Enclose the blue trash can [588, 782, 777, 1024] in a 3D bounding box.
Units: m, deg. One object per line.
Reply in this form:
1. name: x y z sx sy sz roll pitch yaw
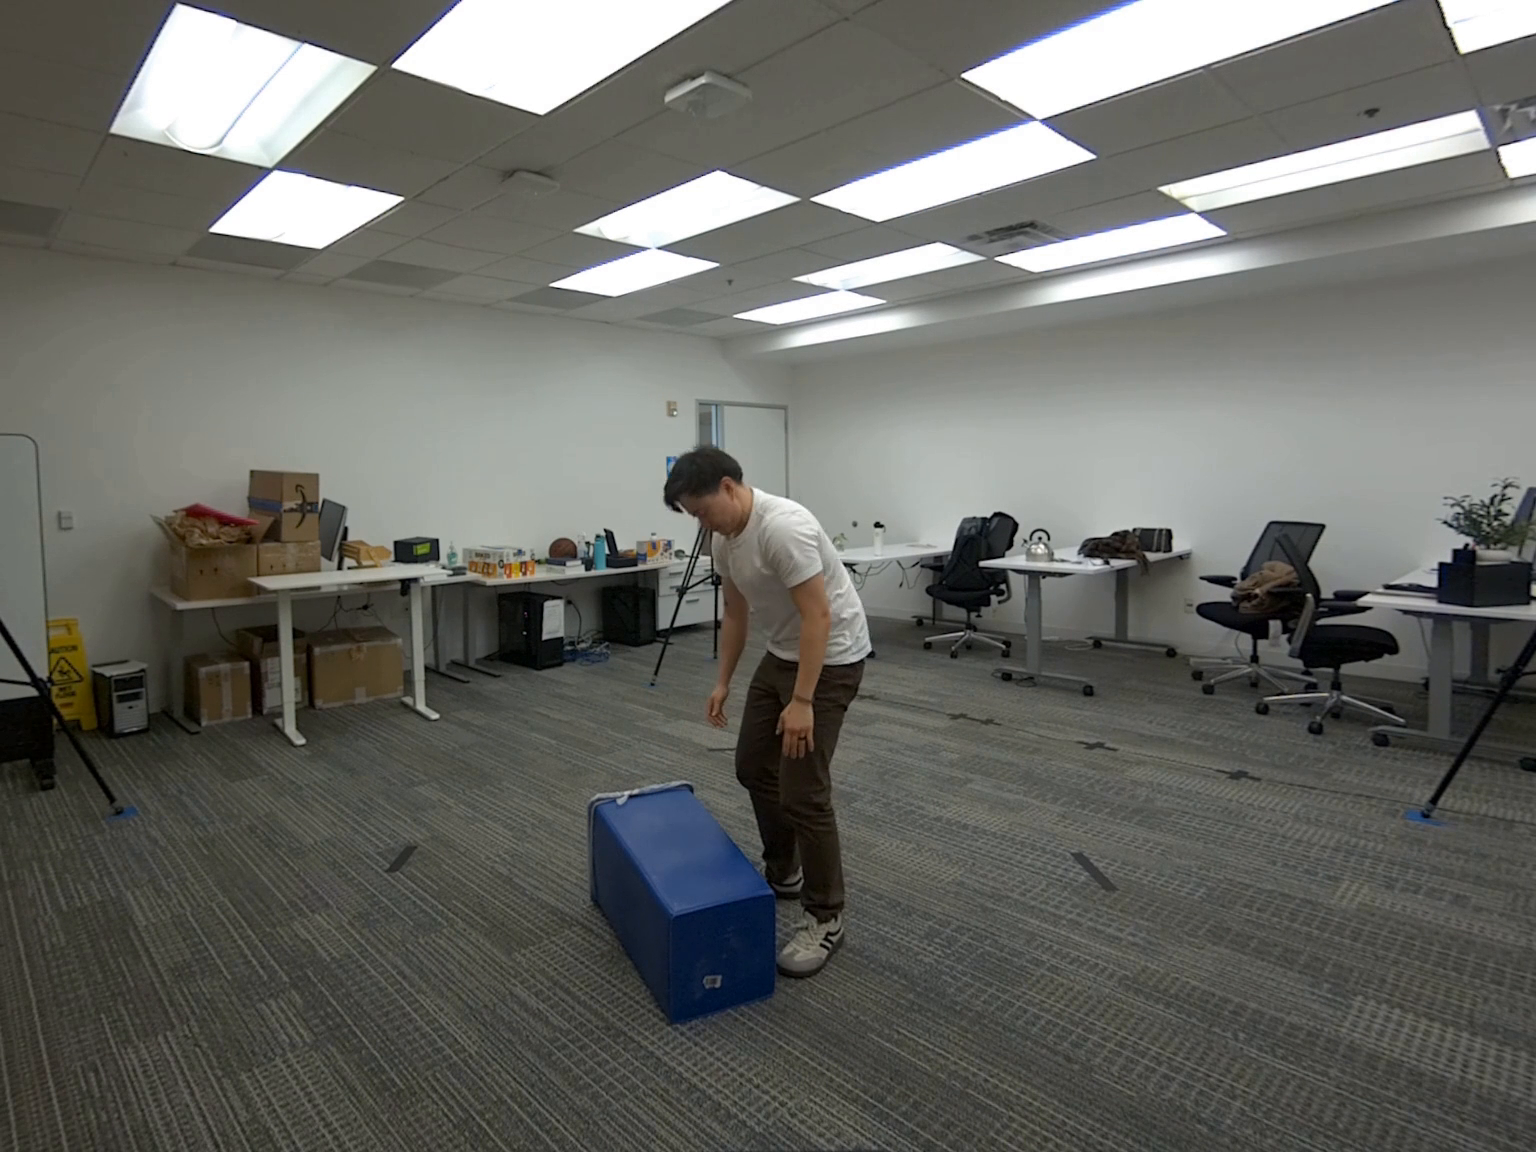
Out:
1. blue trash can: -0.264 0.946 2.560 0.366 0.376 0.733 -2 9 -26
